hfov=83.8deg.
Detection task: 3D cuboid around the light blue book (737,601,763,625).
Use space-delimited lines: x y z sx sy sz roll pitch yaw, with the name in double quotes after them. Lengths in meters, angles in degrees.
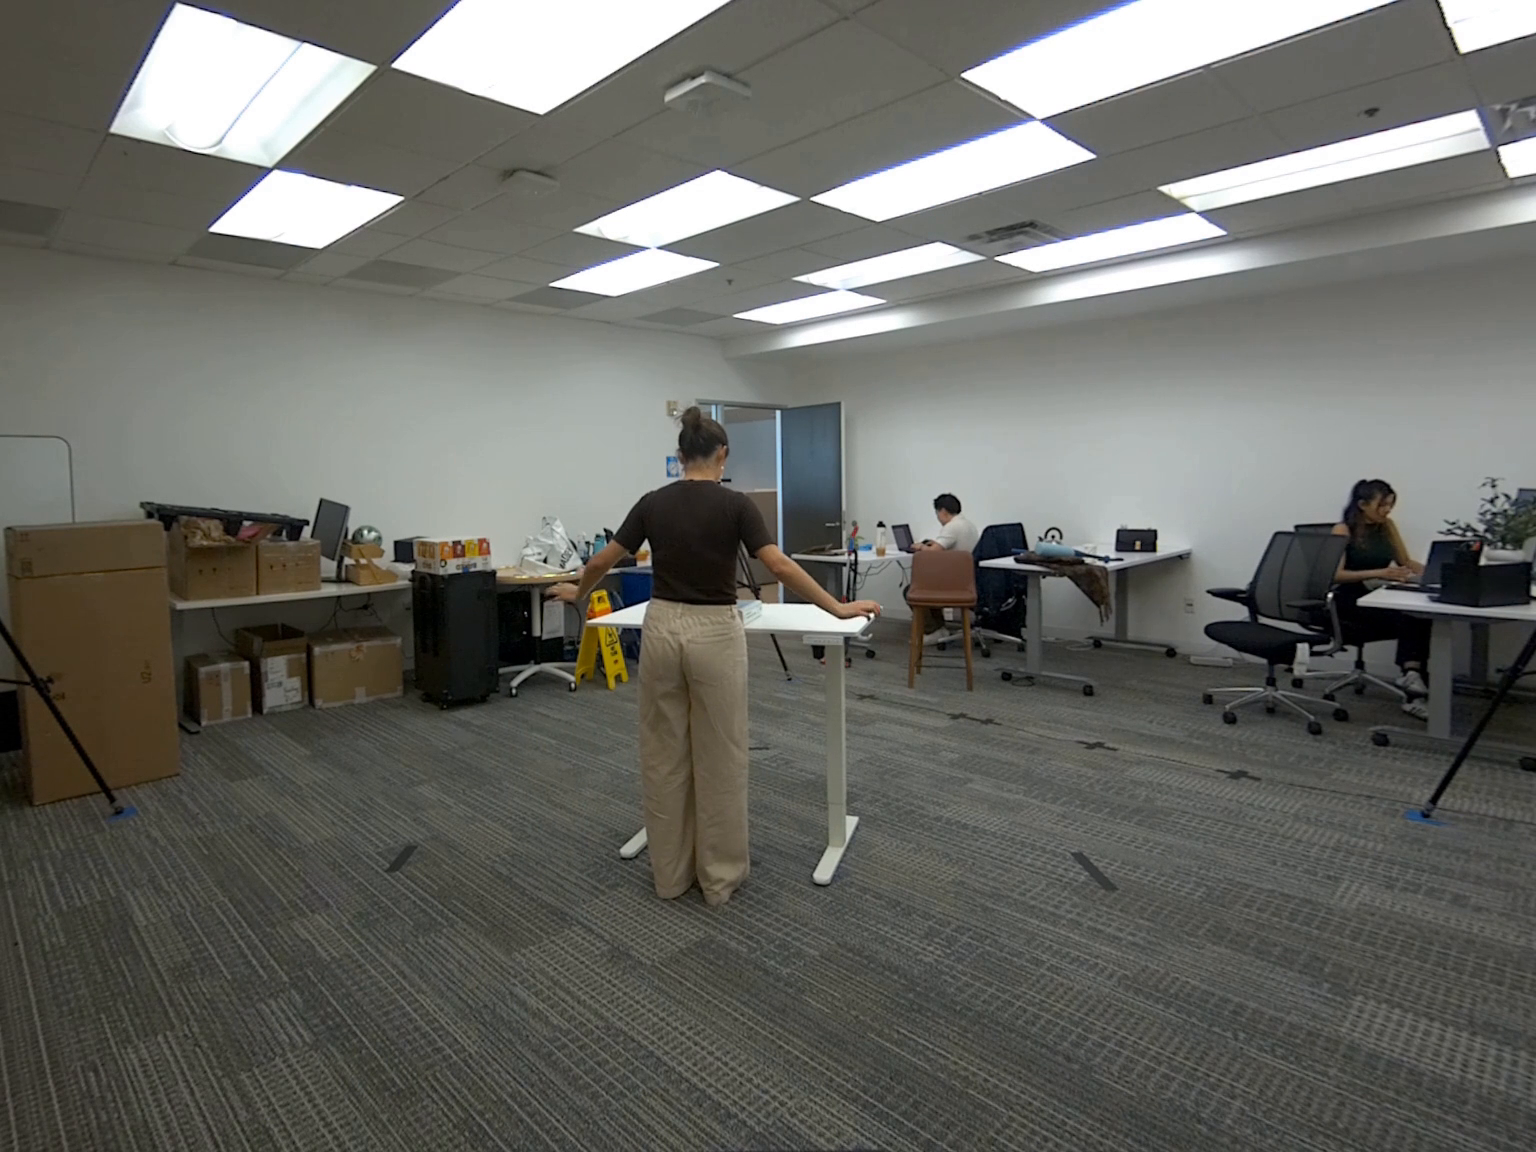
-0.139 0.136 3.117 0.194 0.059 0.258 0 6 14 "light blue book"
